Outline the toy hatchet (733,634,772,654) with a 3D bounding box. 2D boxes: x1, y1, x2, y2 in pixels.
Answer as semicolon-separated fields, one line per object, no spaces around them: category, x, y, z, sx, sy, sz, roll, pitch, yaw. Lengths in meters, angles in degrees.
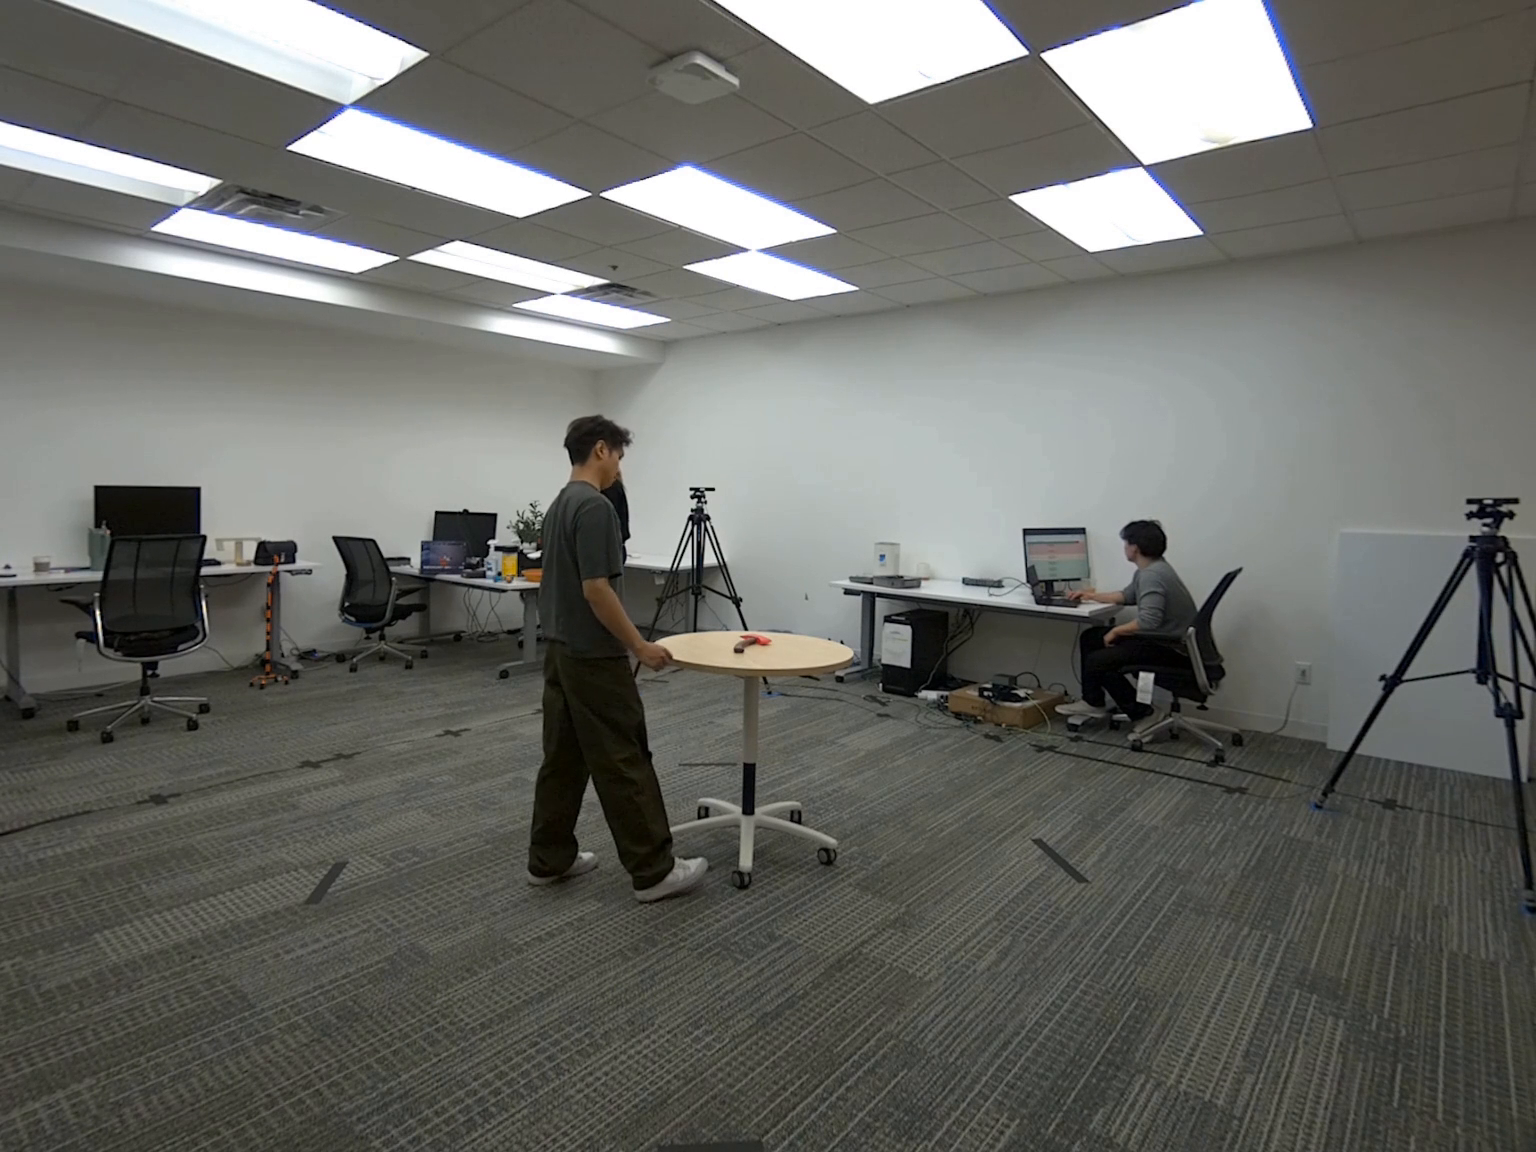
toy hatchet;-0.068;0.261;3.258;0.132;0.029;0.270;6;8;3
